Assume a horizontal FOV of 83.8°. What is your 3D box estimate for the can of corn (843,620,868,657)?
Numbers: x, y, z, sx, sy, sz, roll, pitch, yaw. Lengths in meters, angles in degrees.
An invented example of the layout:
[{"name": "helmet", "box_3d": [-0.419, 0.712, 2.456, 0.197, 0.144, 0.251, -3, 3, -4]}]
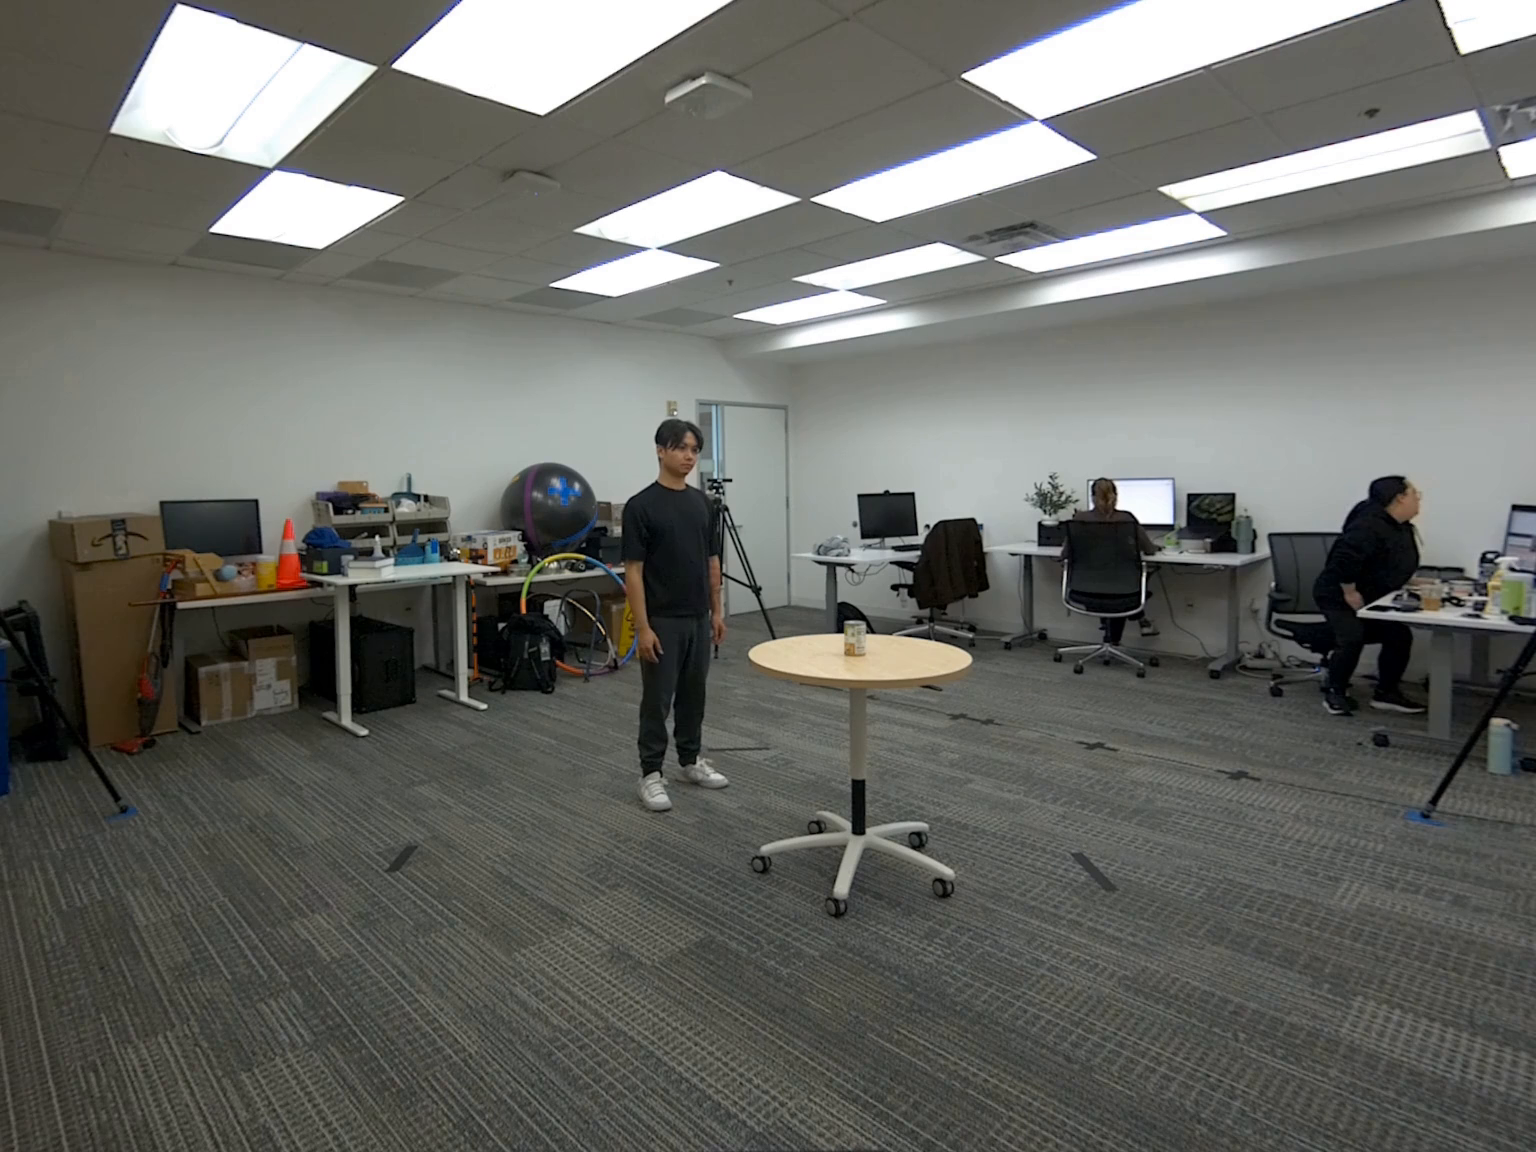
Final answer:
[{"name": "can of corn", "box_3d": [0.308, 0.219, 2.971, 0.074, 0.110, 0.075, -1, 7, -2]}]
